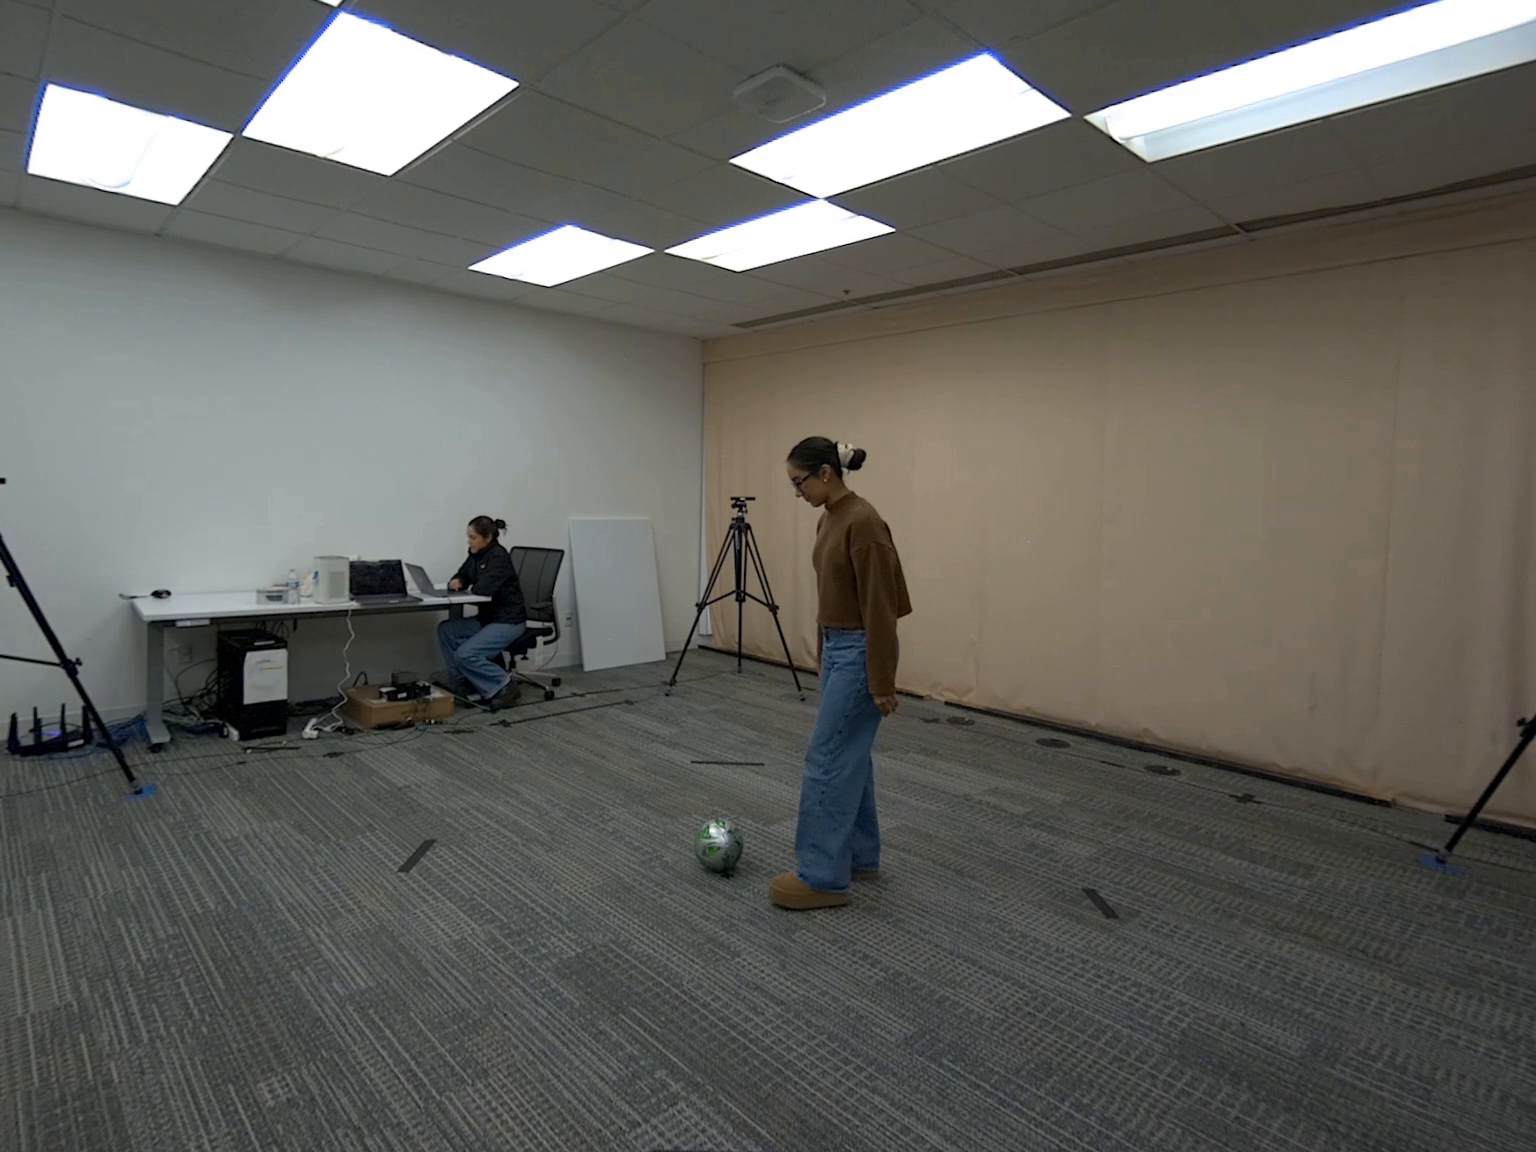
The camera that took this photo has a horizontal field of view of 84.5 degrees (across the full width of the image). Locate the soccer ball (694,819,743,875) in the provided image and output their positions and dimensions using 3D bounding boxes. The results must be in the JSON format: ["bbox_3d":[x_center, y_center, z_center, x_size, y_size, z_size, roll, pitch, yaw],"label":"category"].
[{"bbox_3d":[-0.189,1.004,3.154,0.187,0.187,0.188,1,4,-1],"label":"soccer ball"}]
